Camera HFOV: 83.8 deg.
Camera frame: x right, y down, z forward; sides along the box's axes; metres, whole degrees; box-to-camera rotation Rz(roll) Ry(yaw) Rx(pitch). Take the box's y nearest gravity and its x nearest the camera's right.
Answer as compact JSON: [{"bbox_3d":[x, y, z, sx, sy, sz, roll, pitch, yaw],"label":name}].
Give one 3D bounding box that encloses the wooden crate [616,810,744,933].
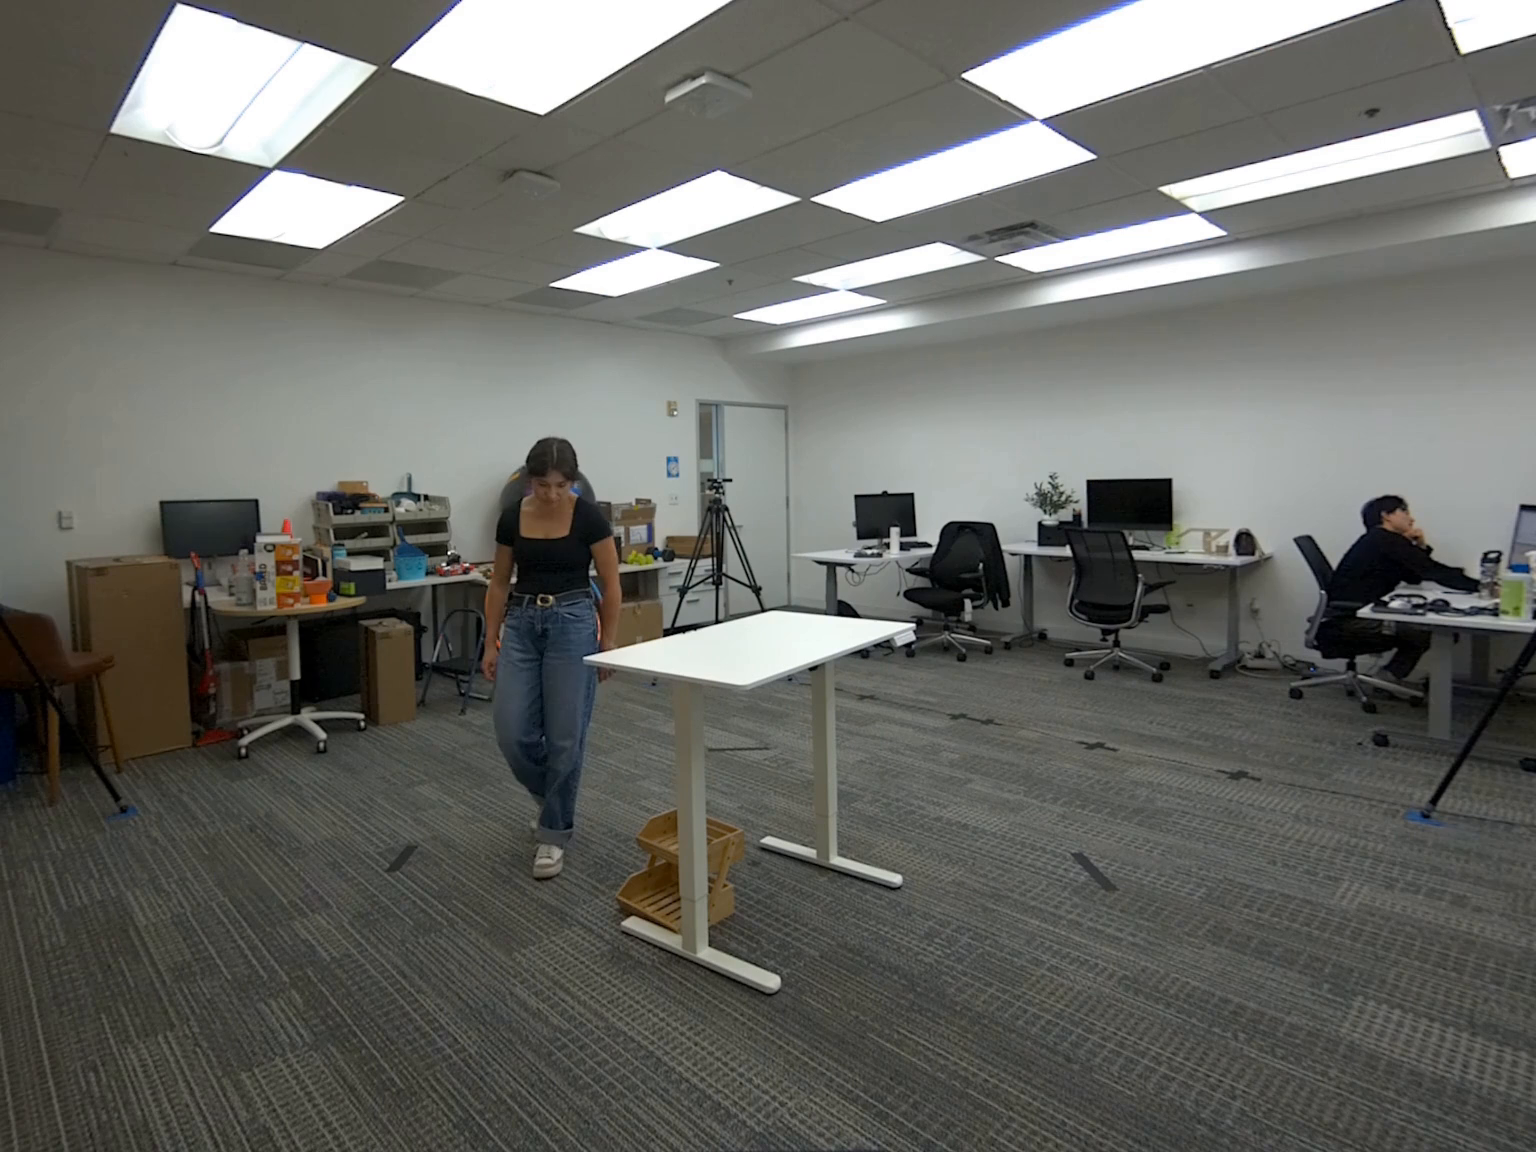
[{"bbox_3d":[-0.286,0.954,2.775,0.334,0.272,0.294,4,6,42],"label":"wooden crate"}]
